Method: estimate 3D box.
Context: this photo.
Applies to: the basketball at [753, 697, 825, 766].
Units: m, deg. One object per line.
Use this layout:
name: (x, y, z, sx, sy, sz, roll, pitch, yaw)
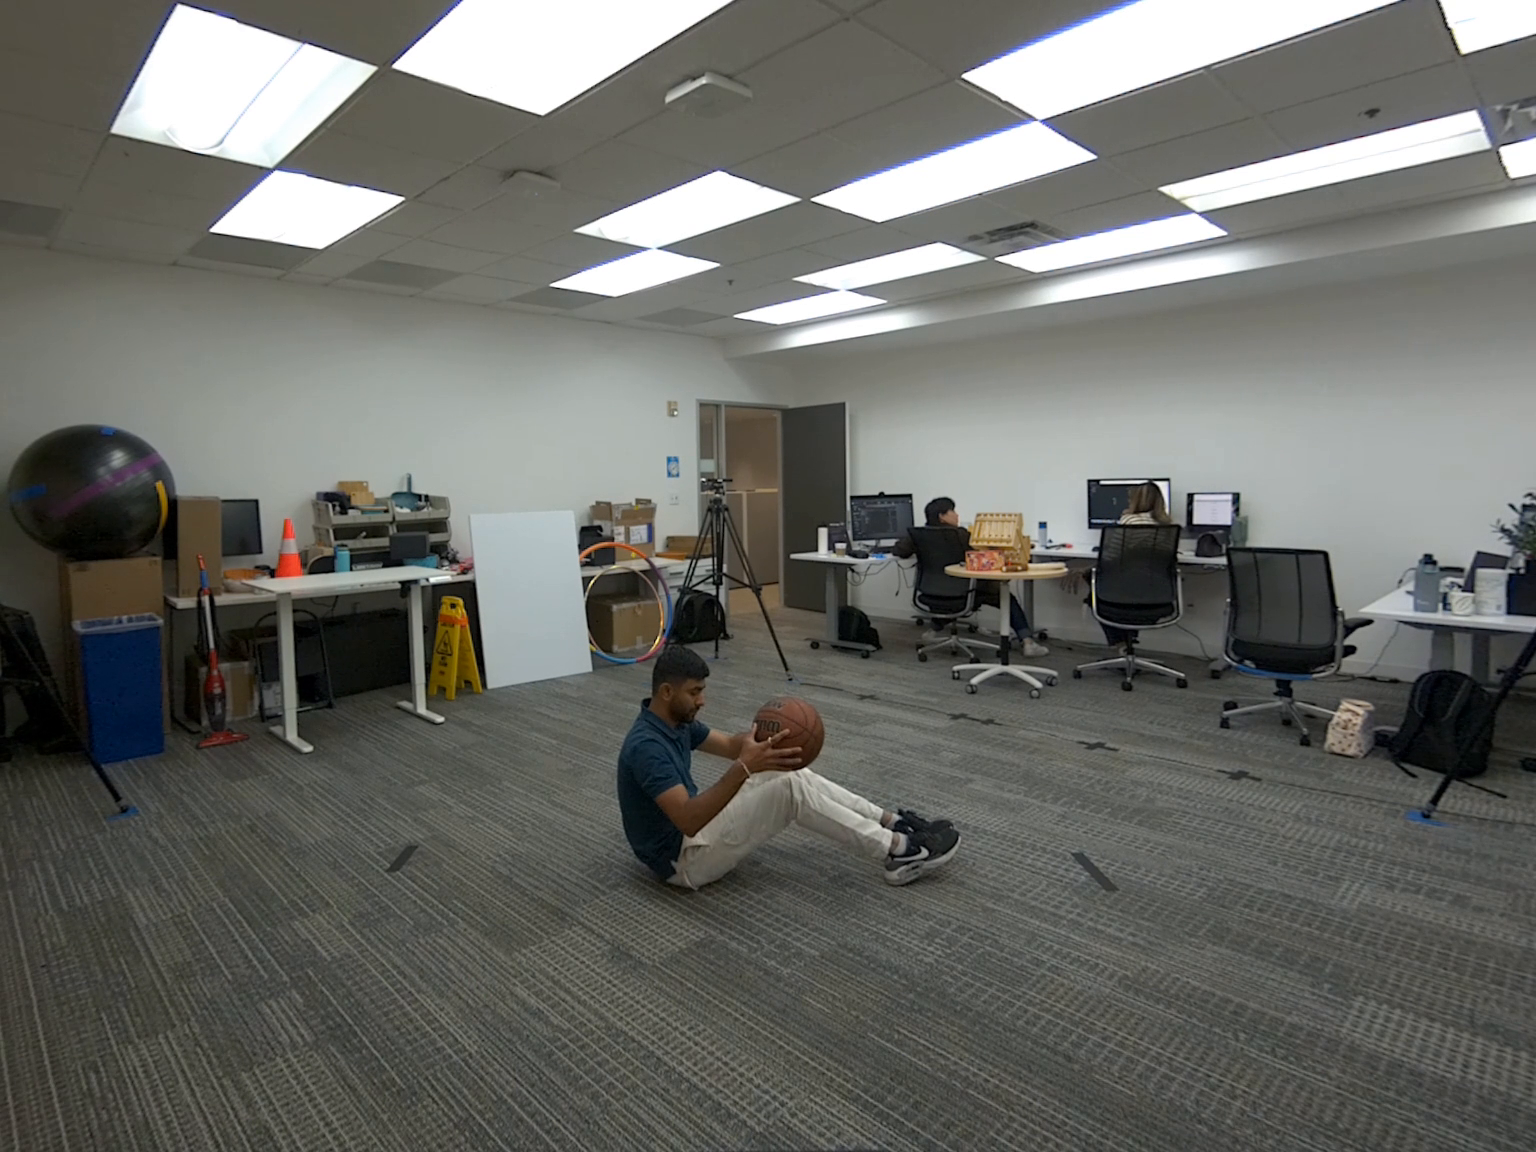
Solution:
basketball: (0.071, 0.516, 2.796, 0.236, 0.235, 0.237, -1, 5, -2)
